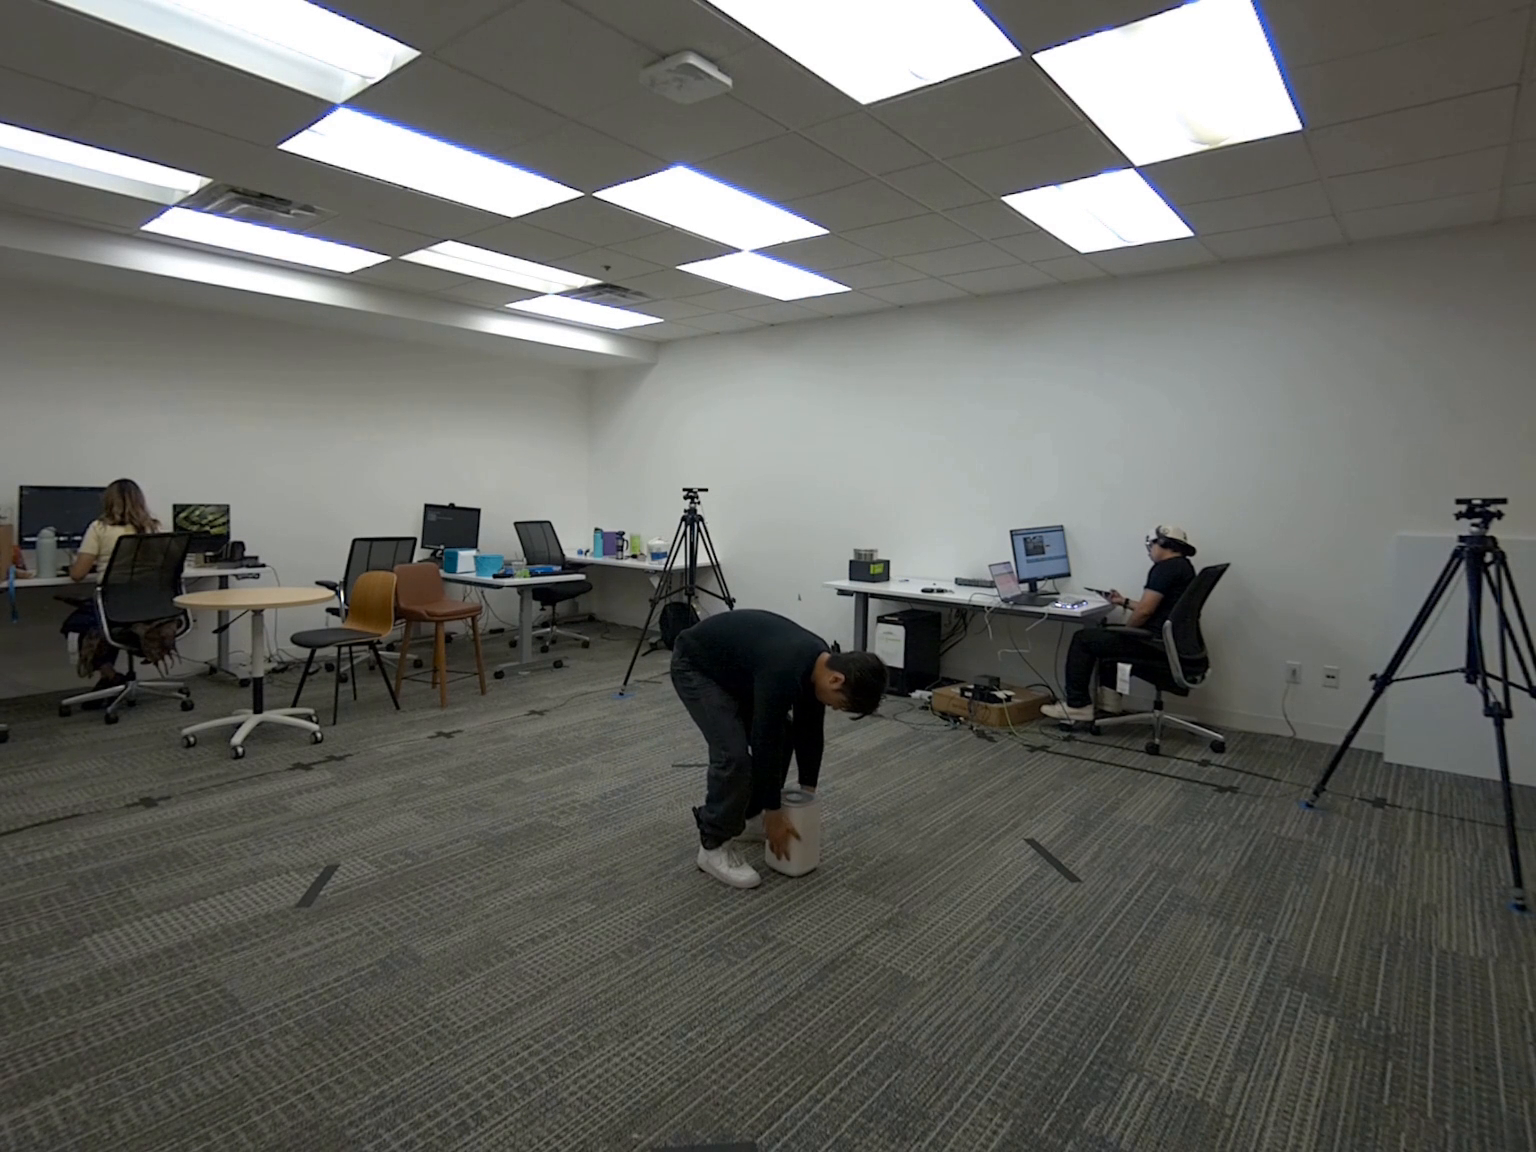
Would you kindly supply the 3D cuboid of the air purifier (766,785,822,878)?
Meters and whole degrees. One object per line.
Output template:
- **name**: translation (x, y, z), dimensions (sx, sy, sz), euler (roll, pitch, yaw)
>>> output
- **air purifier**: translation (0.087, 0.950, 3.143), dimensions (0.177, 0.264, 0.166), euler (6, 5, 44)
